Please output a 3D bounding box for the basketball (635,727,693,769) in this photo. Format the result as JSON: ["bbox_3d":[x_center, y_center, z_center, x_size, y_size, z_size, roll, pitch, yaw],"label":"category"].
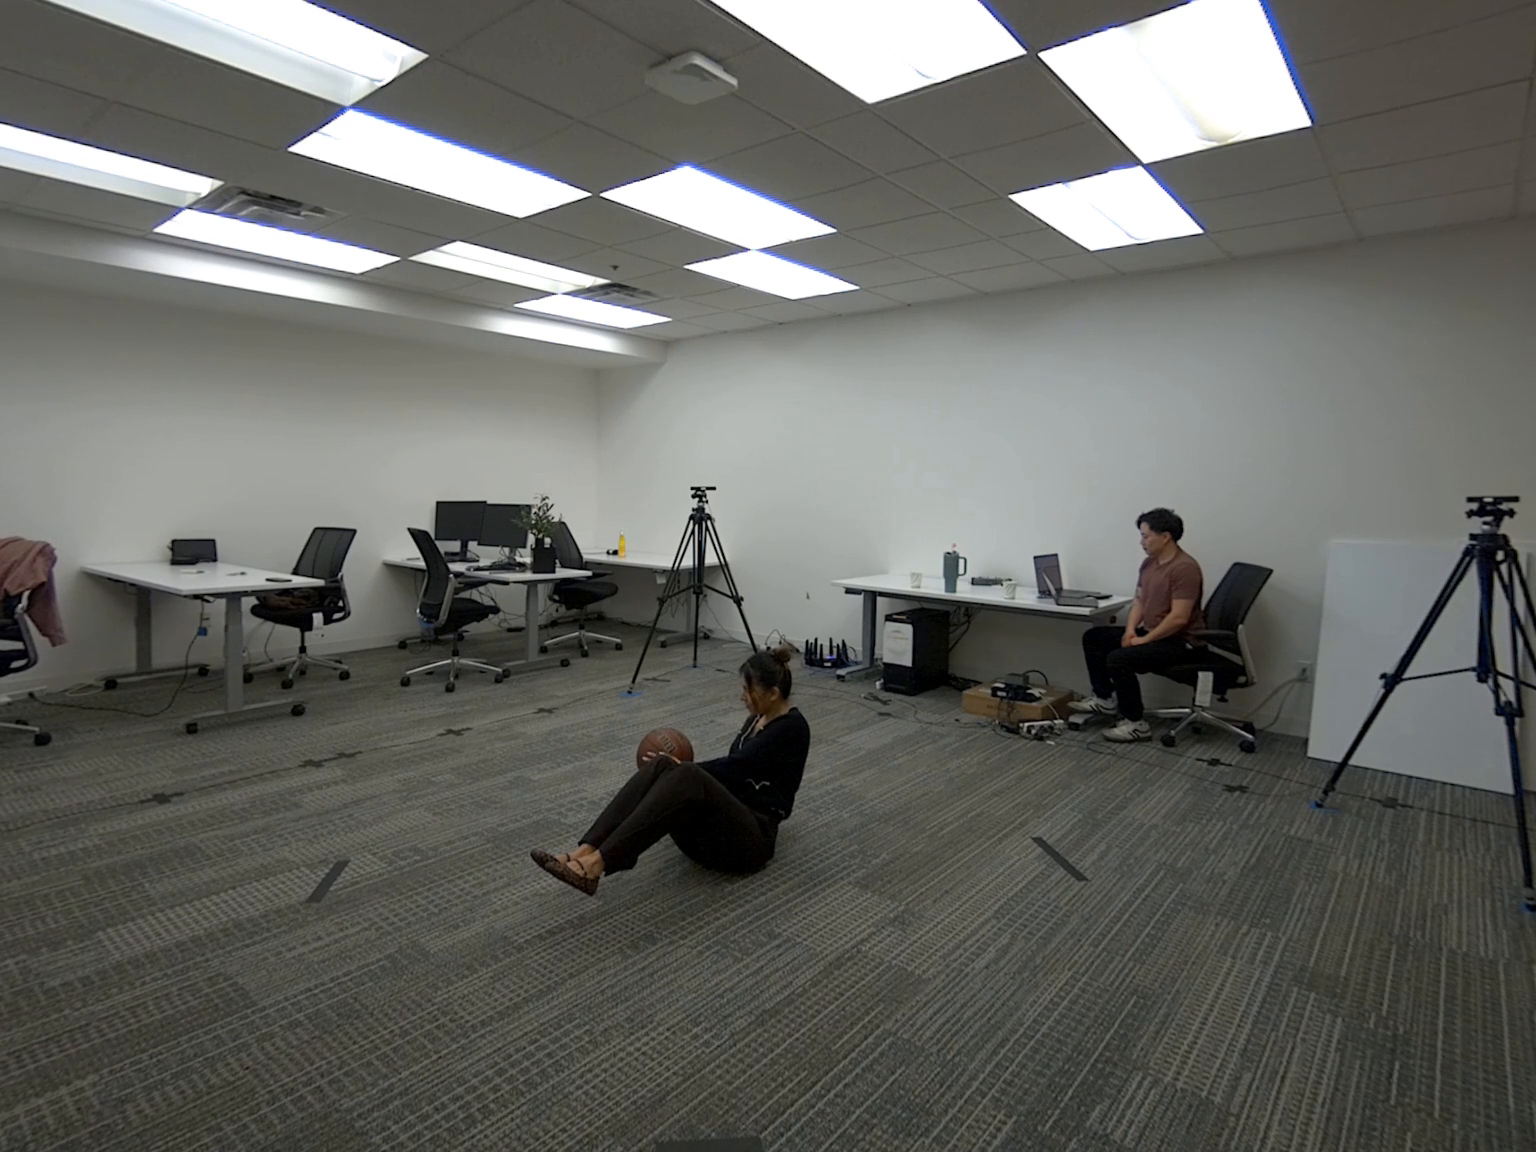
[{"bbox_3d":[-0.428,0.729,3.476,0.235,0.235,0.237,1,4,-2],"label":"basketball"}]
